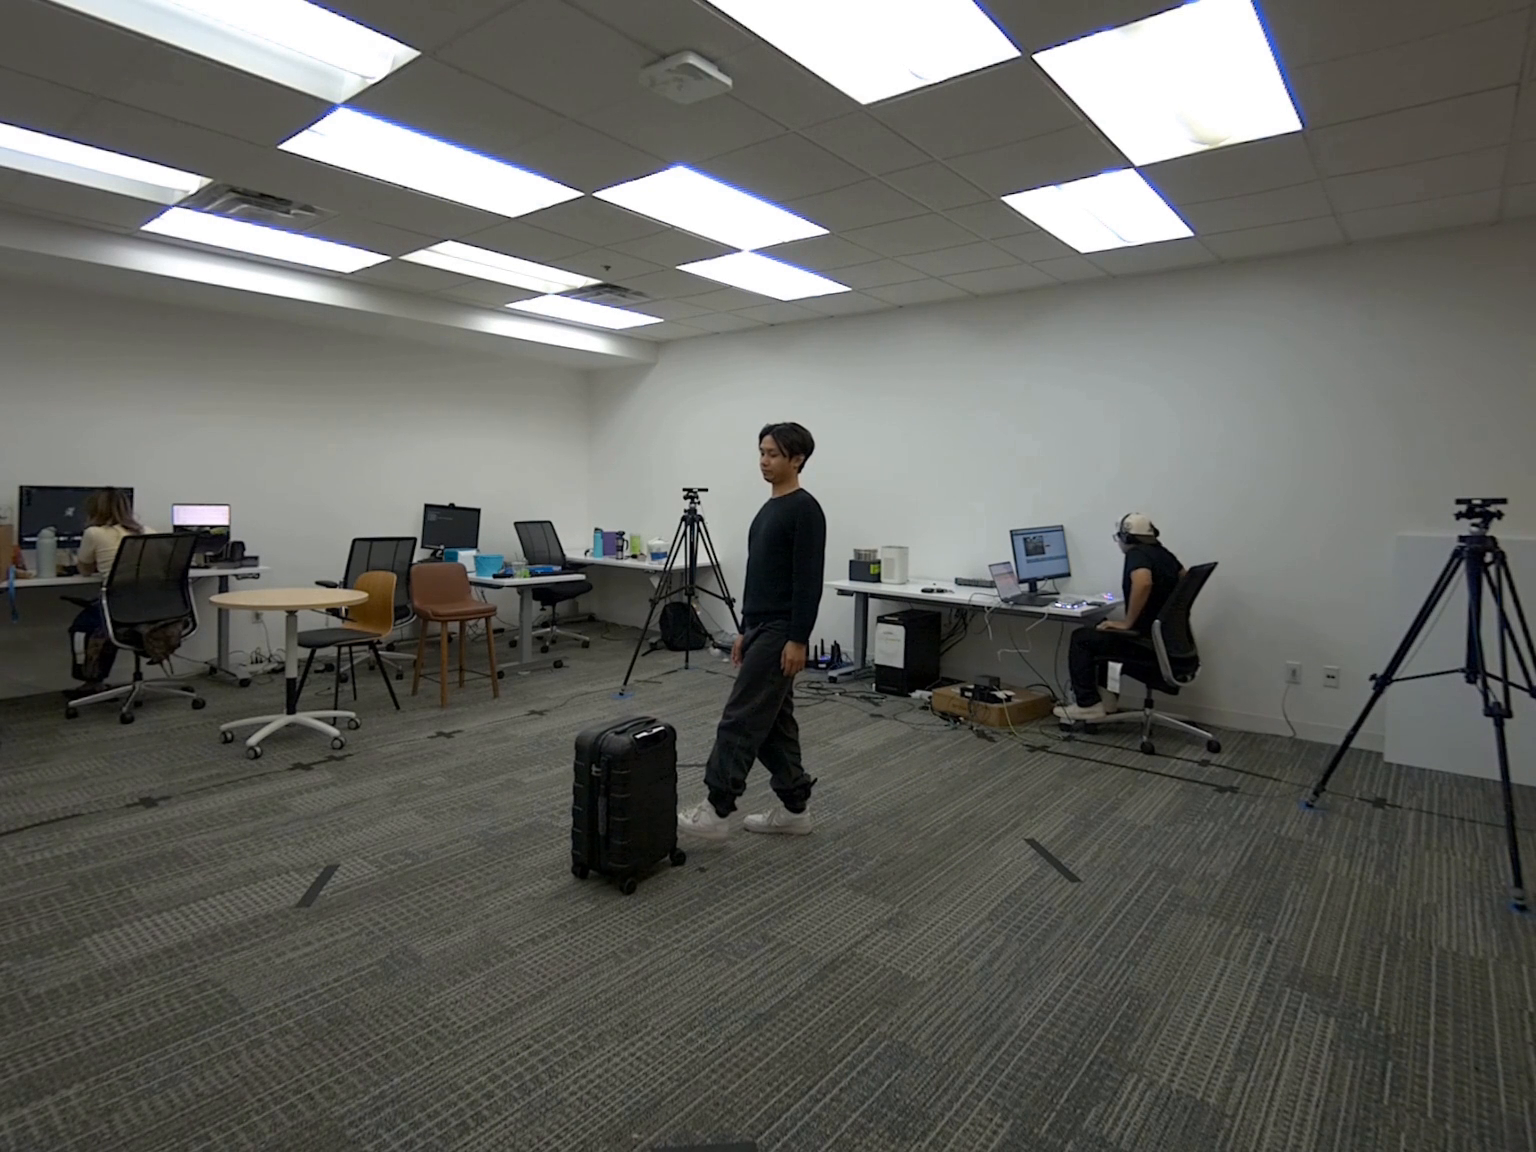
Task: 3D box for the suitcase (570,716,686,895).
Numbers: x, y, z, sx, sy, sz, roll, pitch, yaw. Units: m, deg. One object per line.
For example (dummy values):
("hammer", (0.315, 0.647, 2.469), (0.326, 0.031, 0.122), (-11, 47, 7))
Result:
("suitcase", (-0.521, 0.795, 3.065), (0.256, 0.548, 0.366), (2, 4, 31))
